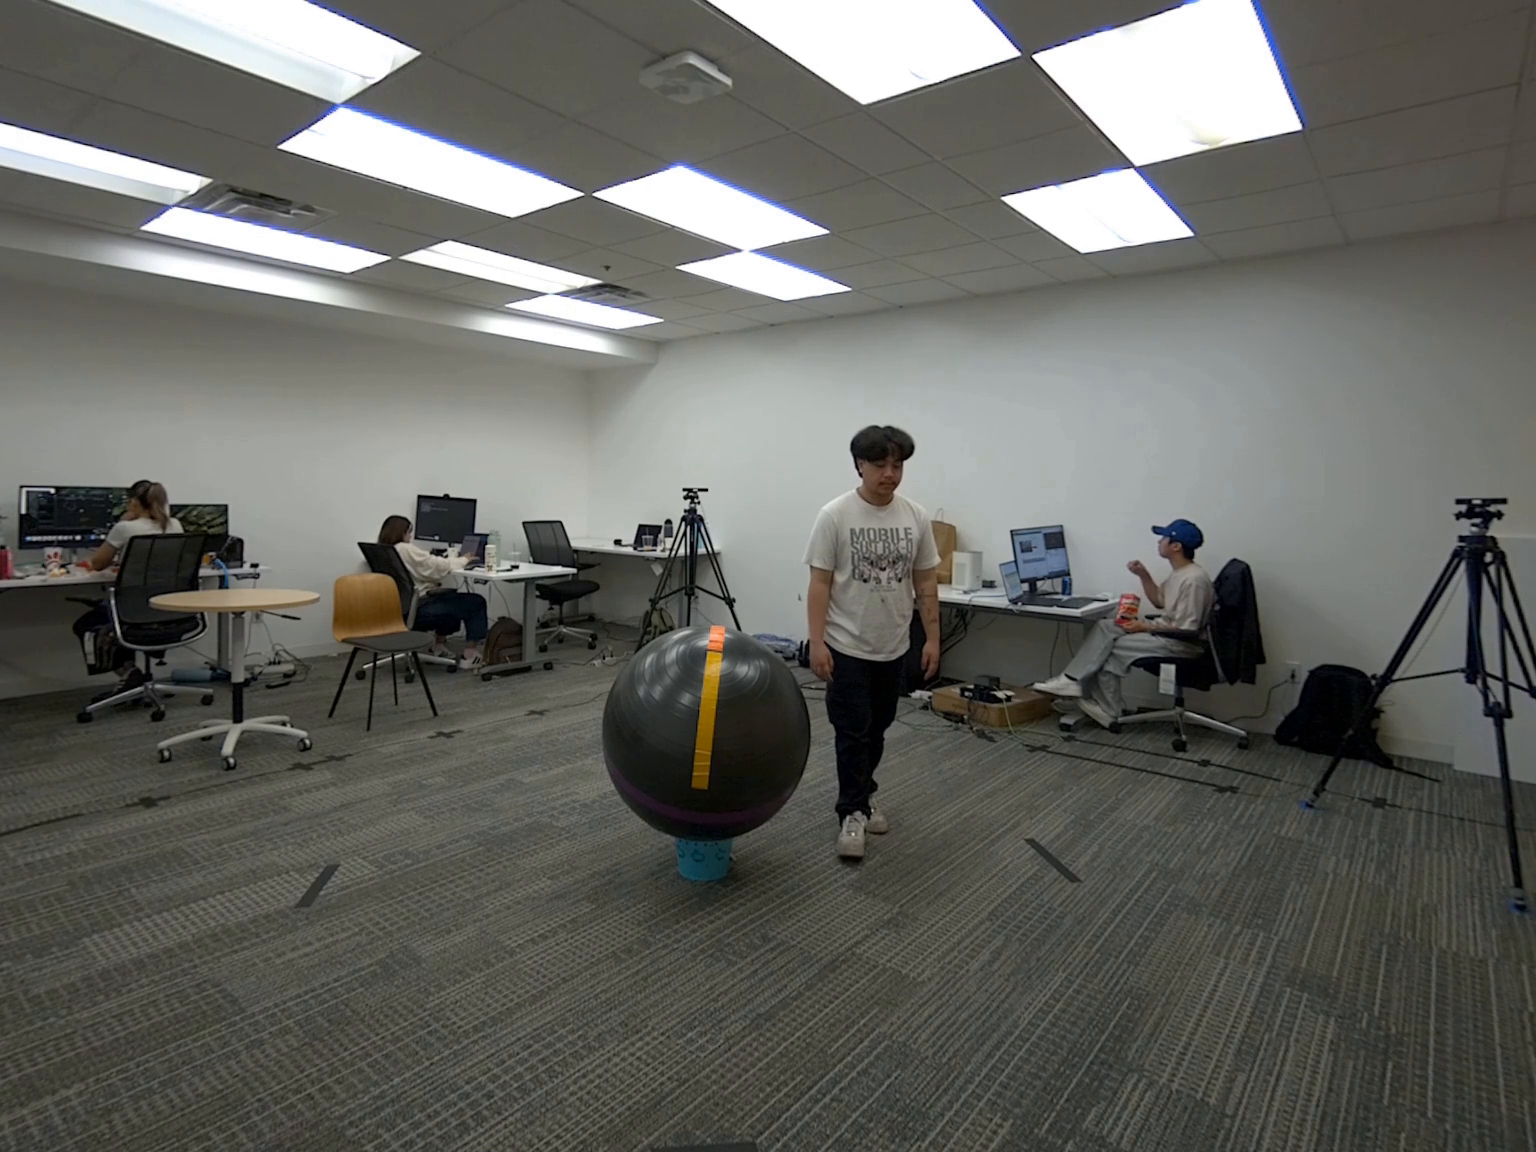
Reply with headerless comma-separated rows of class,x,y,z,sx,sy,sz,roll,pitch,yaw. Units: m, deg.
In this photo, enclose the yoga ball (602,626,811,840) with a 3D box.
yoga ball,-0.230,0.560,3.085,0.757,0.756,0.761,1,4,-2
